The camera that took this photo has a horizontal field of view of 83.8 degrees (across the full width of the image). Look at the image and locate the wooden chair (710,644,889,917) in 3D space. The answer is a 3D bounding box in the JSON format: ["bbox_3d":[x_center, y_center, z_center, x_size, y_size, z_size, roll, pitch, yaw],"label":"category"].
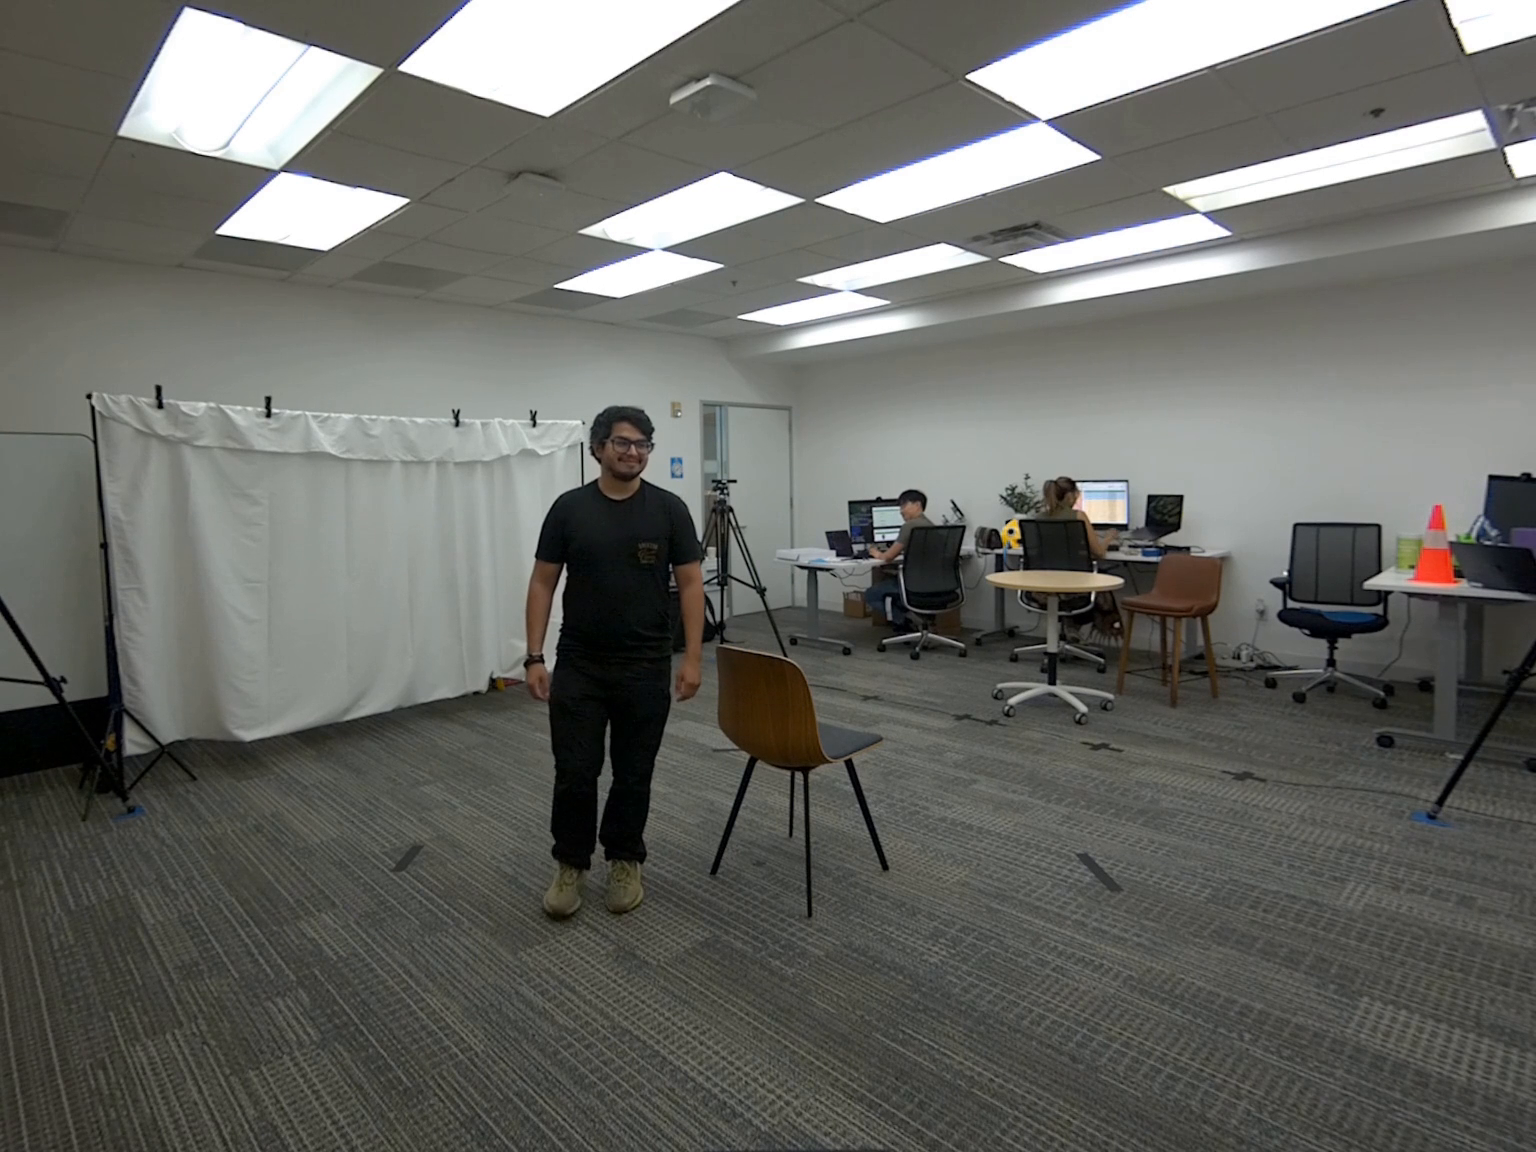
[{"bbox_3d":[0.111,0.628,3.008,0.493,0.871,0.511,3,10,42],"label":"wooden chair"}]
